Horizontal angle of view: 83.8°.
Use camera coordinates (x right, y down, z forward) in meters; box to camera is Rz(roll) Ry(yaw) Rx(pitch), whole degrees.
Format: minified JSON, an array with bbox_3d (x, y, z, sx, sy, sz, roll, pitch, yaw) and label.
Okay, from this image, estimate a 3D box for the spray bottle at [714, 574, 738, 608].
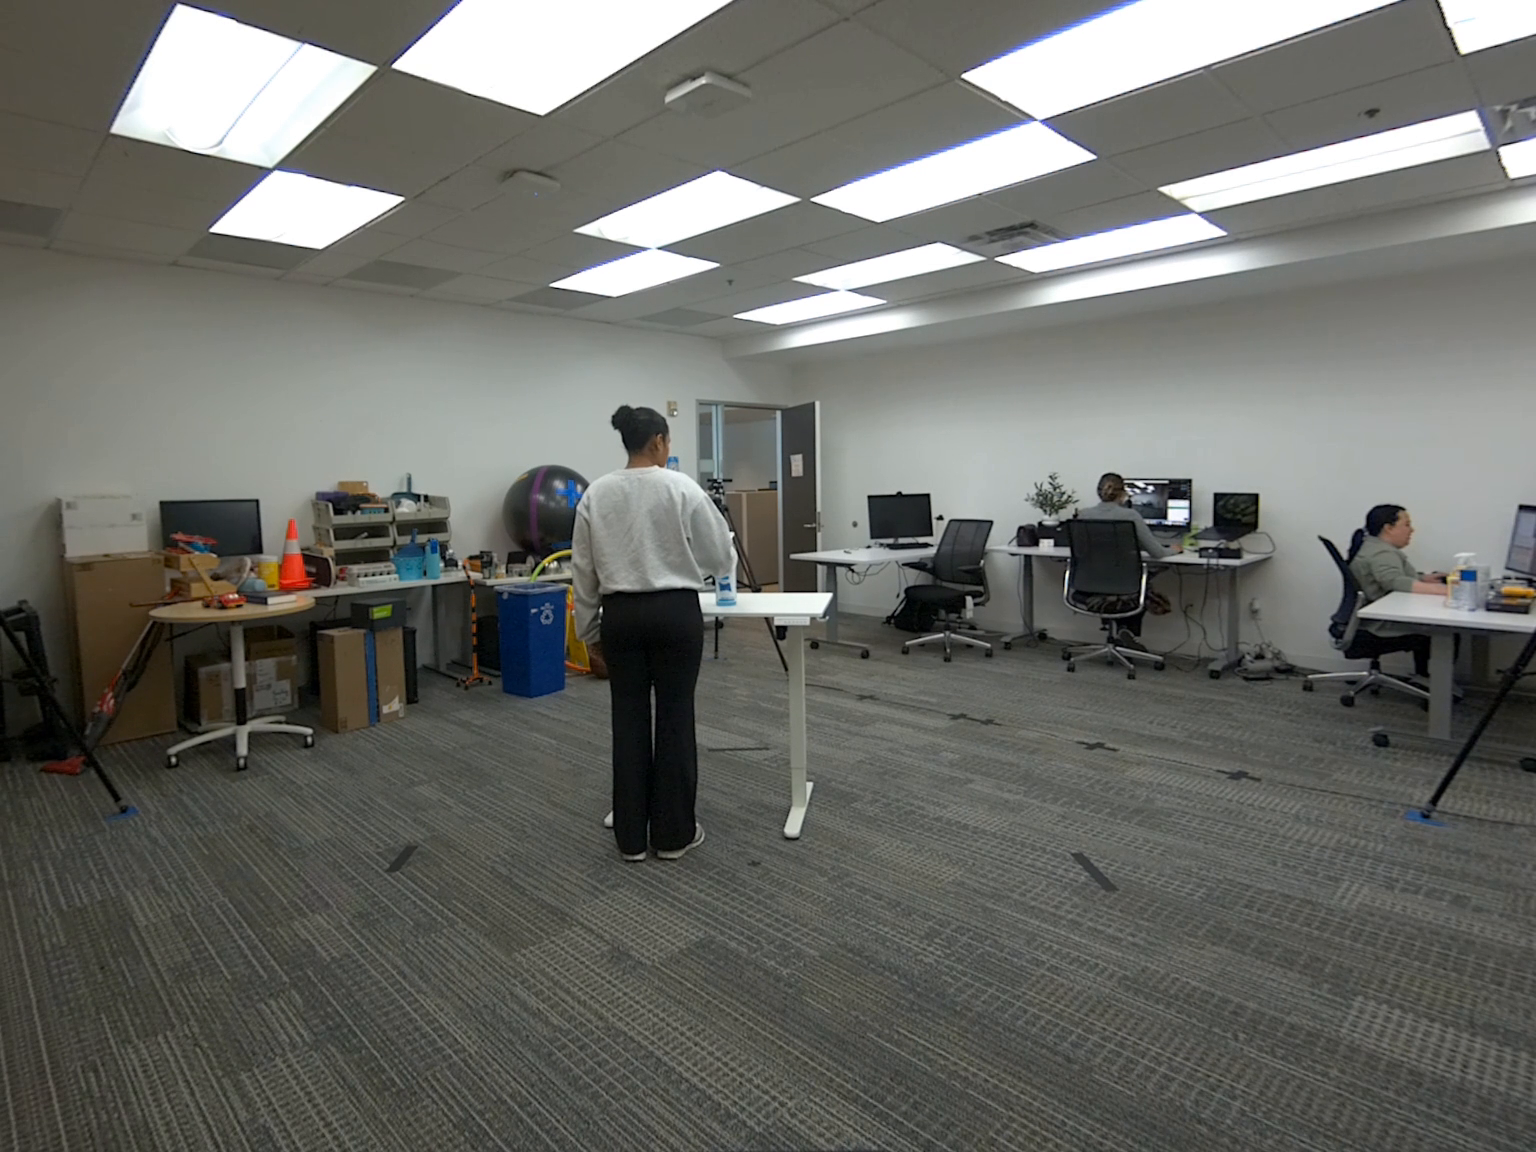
[{"bbox_3d":[-0.171,-0.025,3.515,0.088,0.297,0.089,-2,3,-22],"label":"spray bottle"}]
